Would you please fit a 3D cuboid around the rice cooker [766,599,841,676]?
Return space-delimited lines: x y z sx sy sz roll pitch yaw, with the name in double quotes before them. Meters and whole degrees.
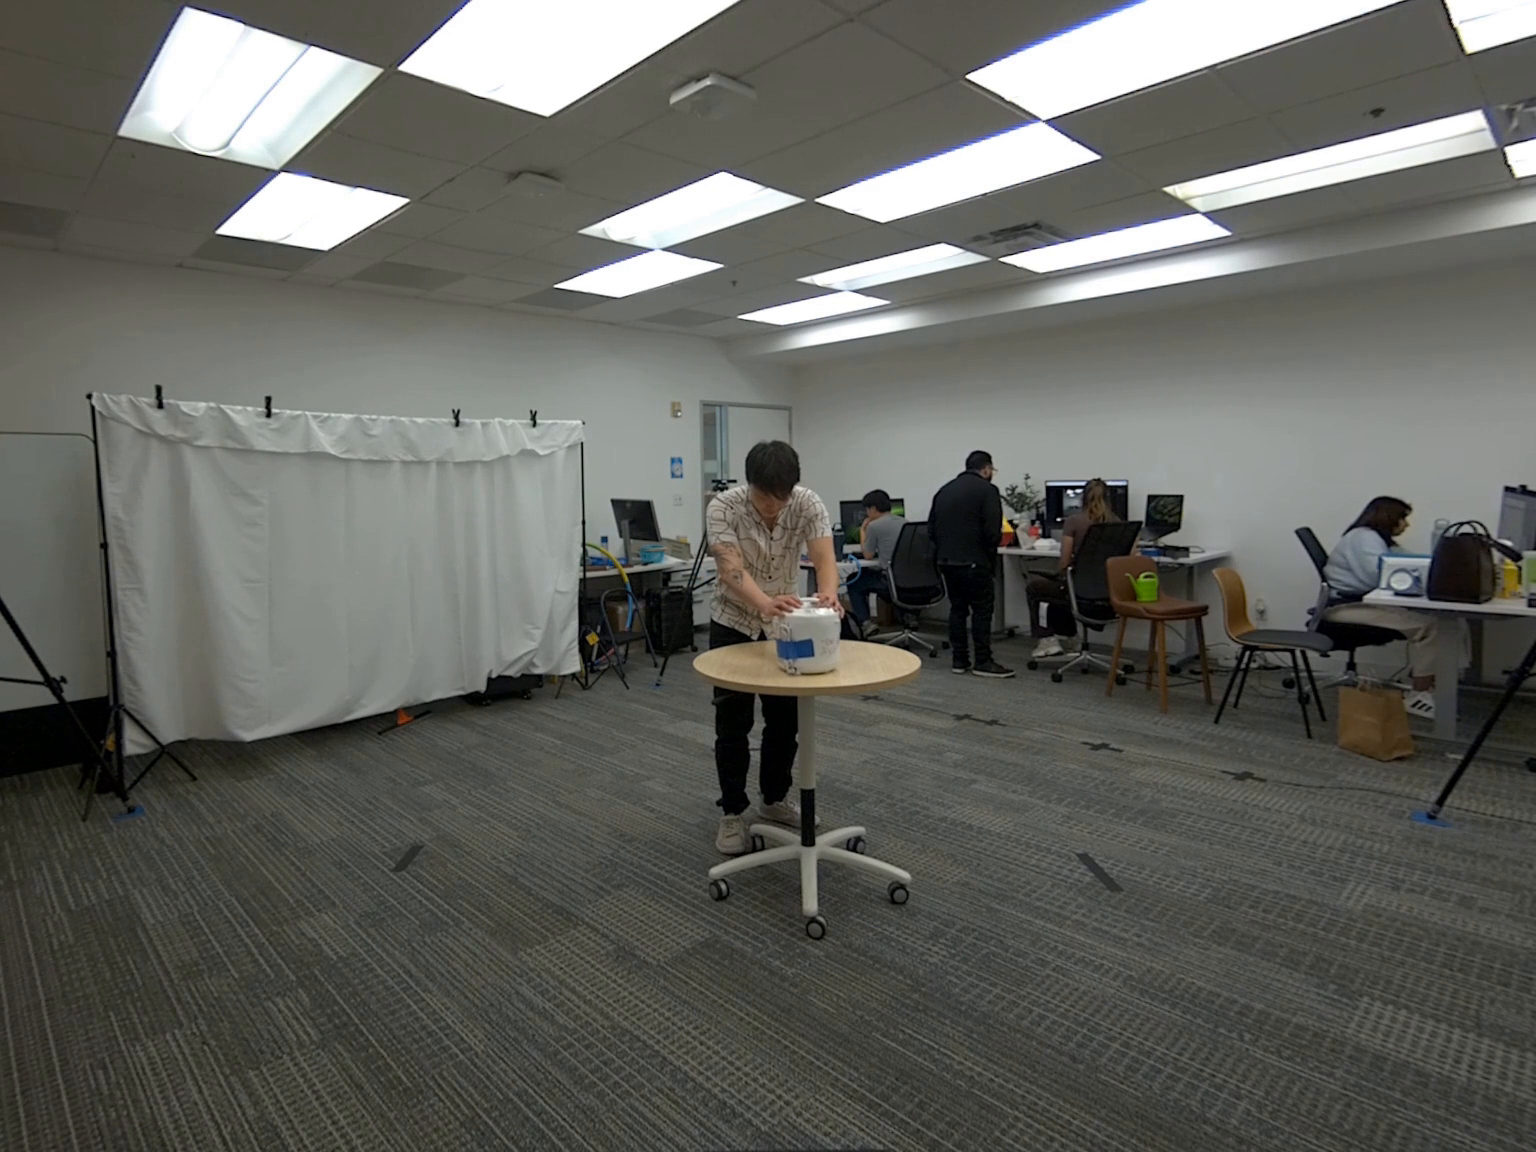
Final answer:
"rice cooker" 0.127 0.189 2.757 0.219 0.231 0.220 -1 6 -7
